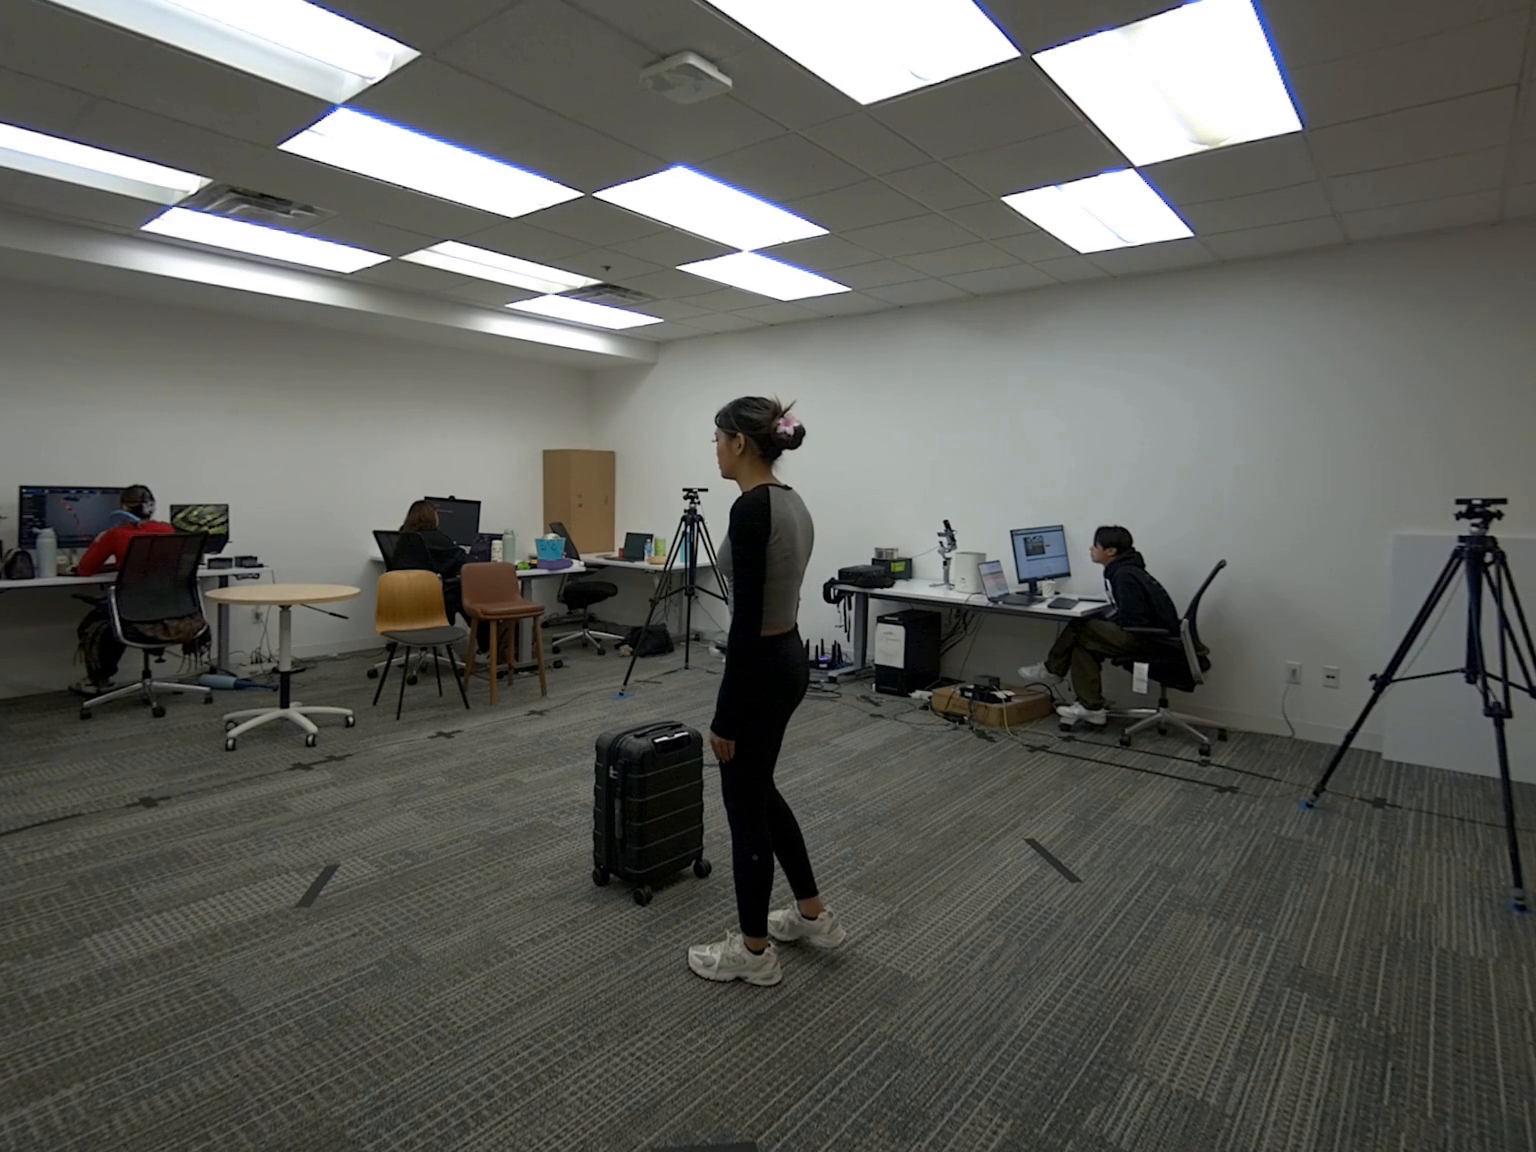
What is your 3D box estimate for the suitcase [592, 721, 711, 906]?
[{"bbox_3d":[-0.430,0.800,3.019,0.256,0.549,0.364,0,2,41],"label":"suitcase"}]
